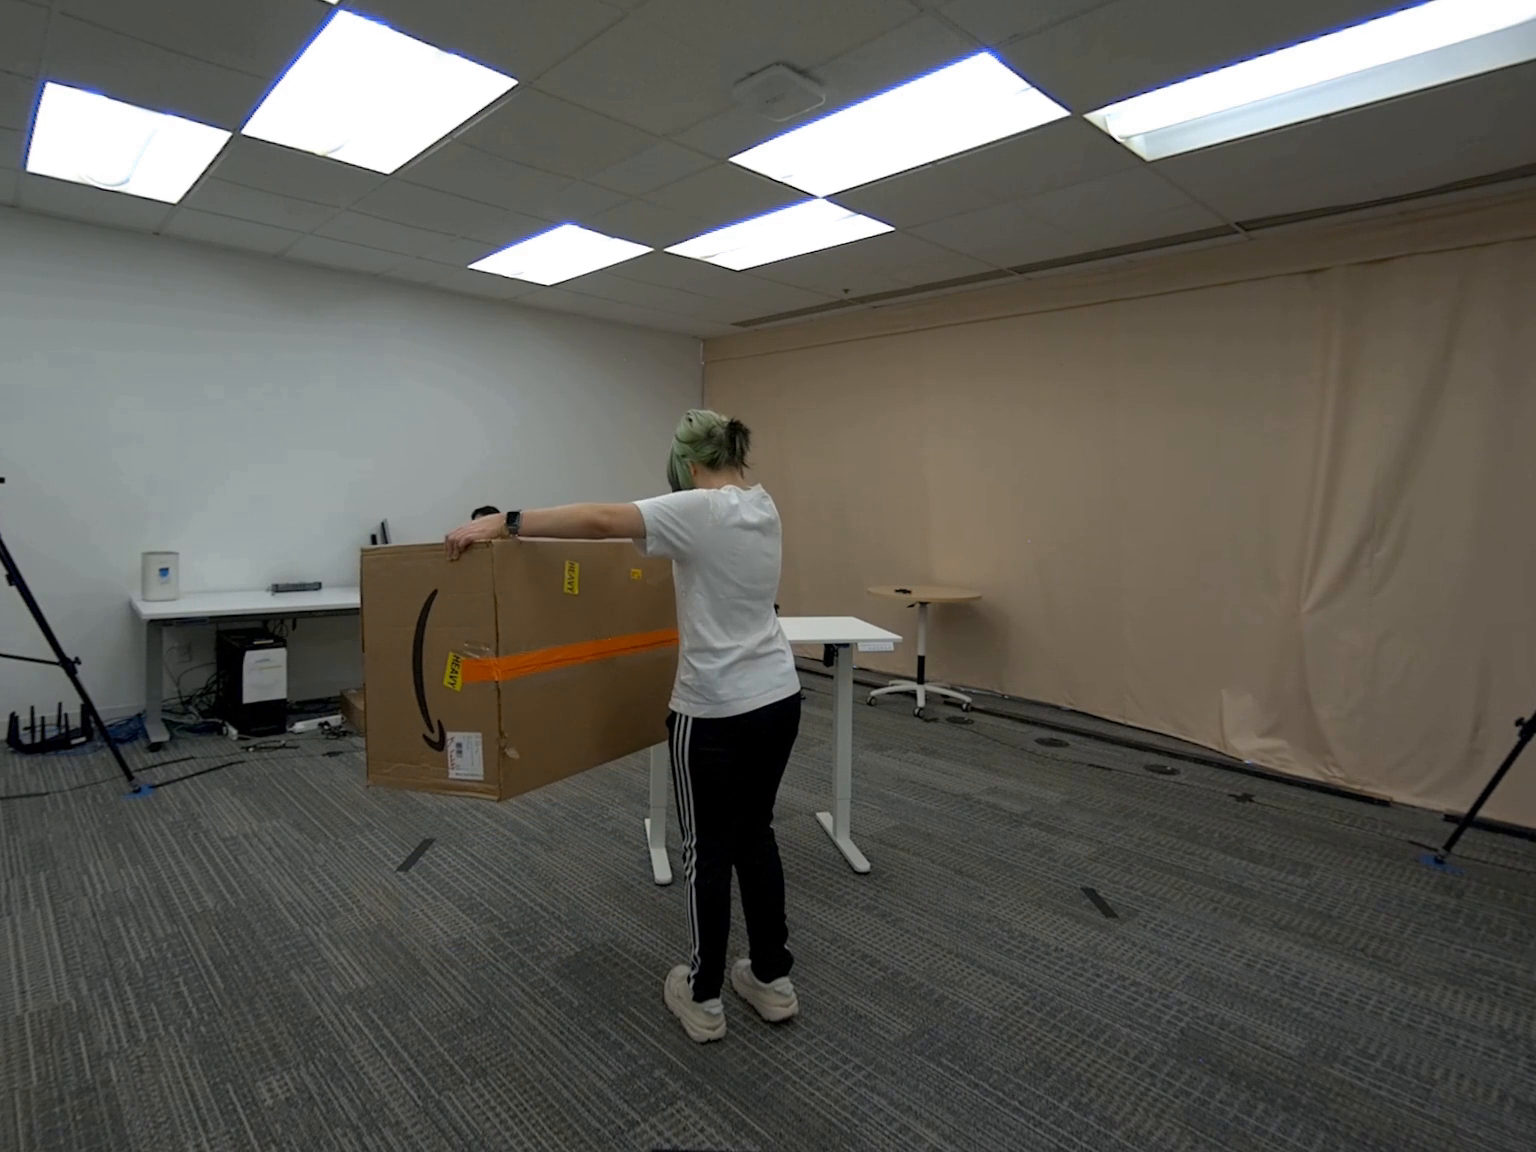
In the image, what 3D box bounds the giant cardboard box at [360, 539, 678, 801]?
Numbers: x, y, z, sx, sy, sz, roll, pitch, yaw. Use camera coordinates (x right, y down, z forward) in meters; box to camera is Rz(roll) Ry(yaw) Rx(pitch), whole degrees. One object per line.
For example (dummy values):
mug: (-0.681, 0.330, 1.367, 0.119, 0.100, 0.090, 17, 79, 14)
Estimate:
giant cardboard box: (-0.568, 0.203, 2.367, 0.455, 0.584, 1.008, -2, 1, 25)
